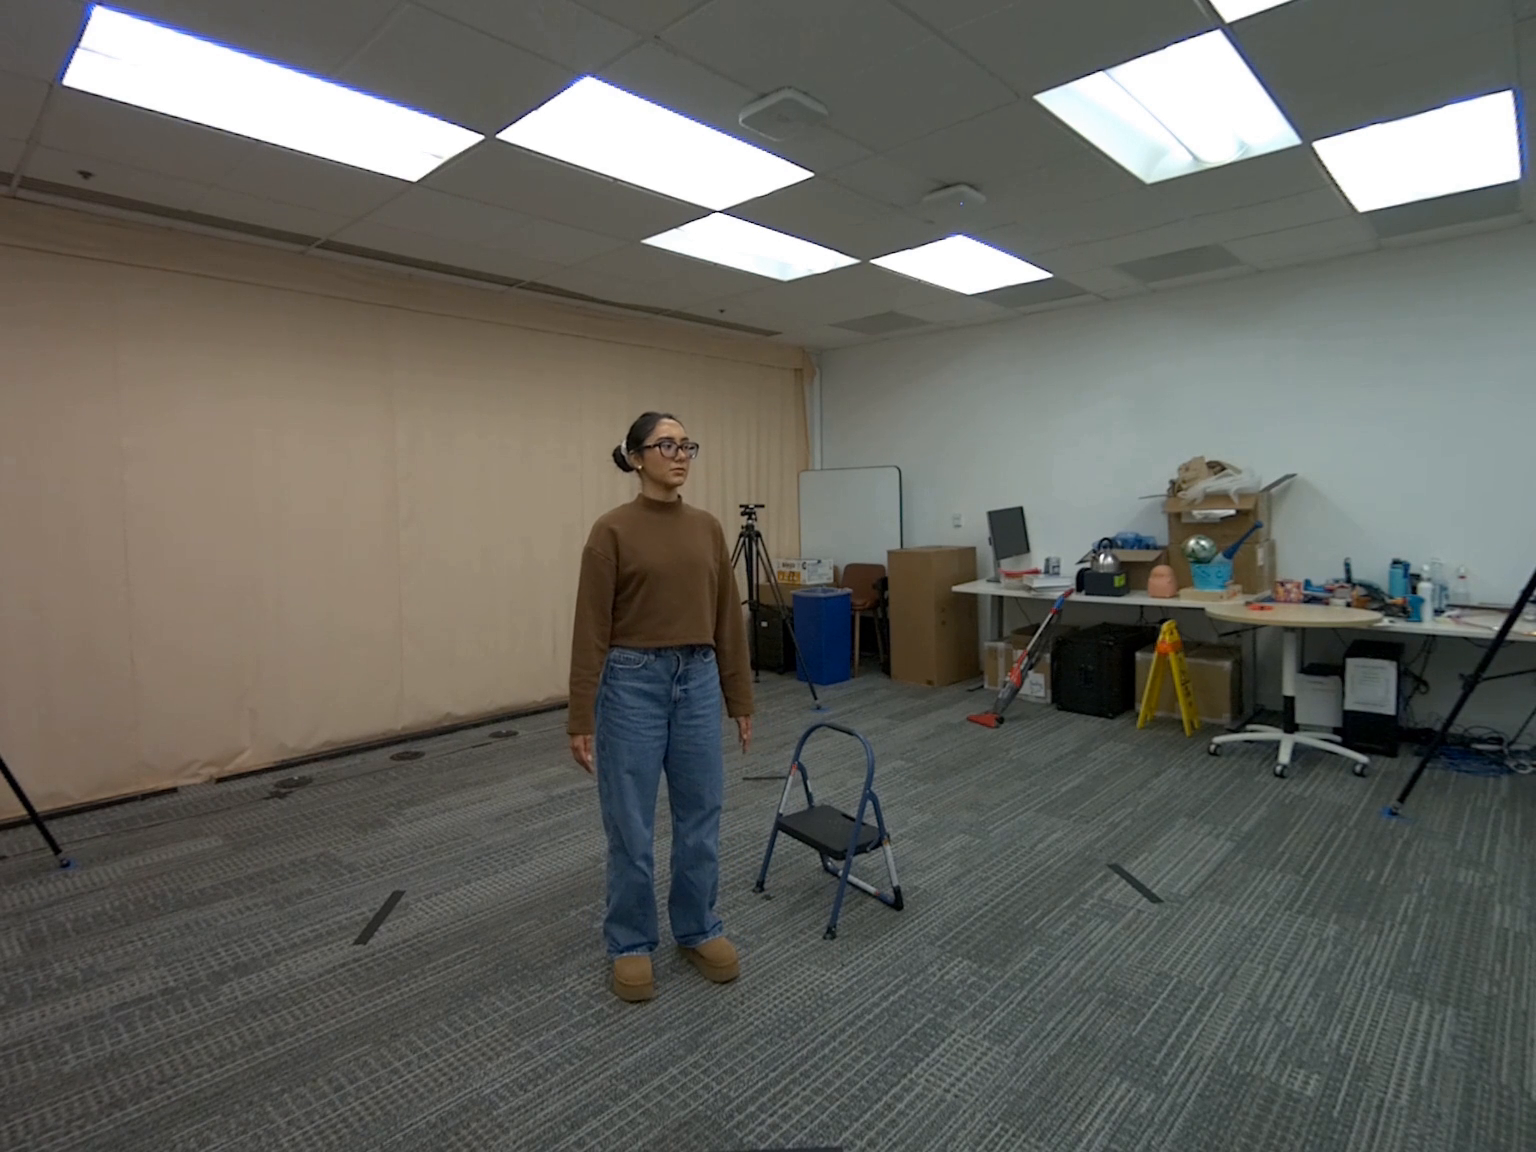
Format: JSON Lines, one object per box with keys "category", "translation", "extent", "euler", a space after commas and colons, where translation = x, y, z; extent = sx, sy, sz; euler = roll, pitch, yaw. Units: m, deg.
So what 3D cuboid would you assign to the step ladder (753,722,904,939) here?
{"category": "step ladder", "translation": [0.208, 0.833, 2.938], "extent": [0.339, 0.605, 0.444], "euler": [-3, 4, -35]}
